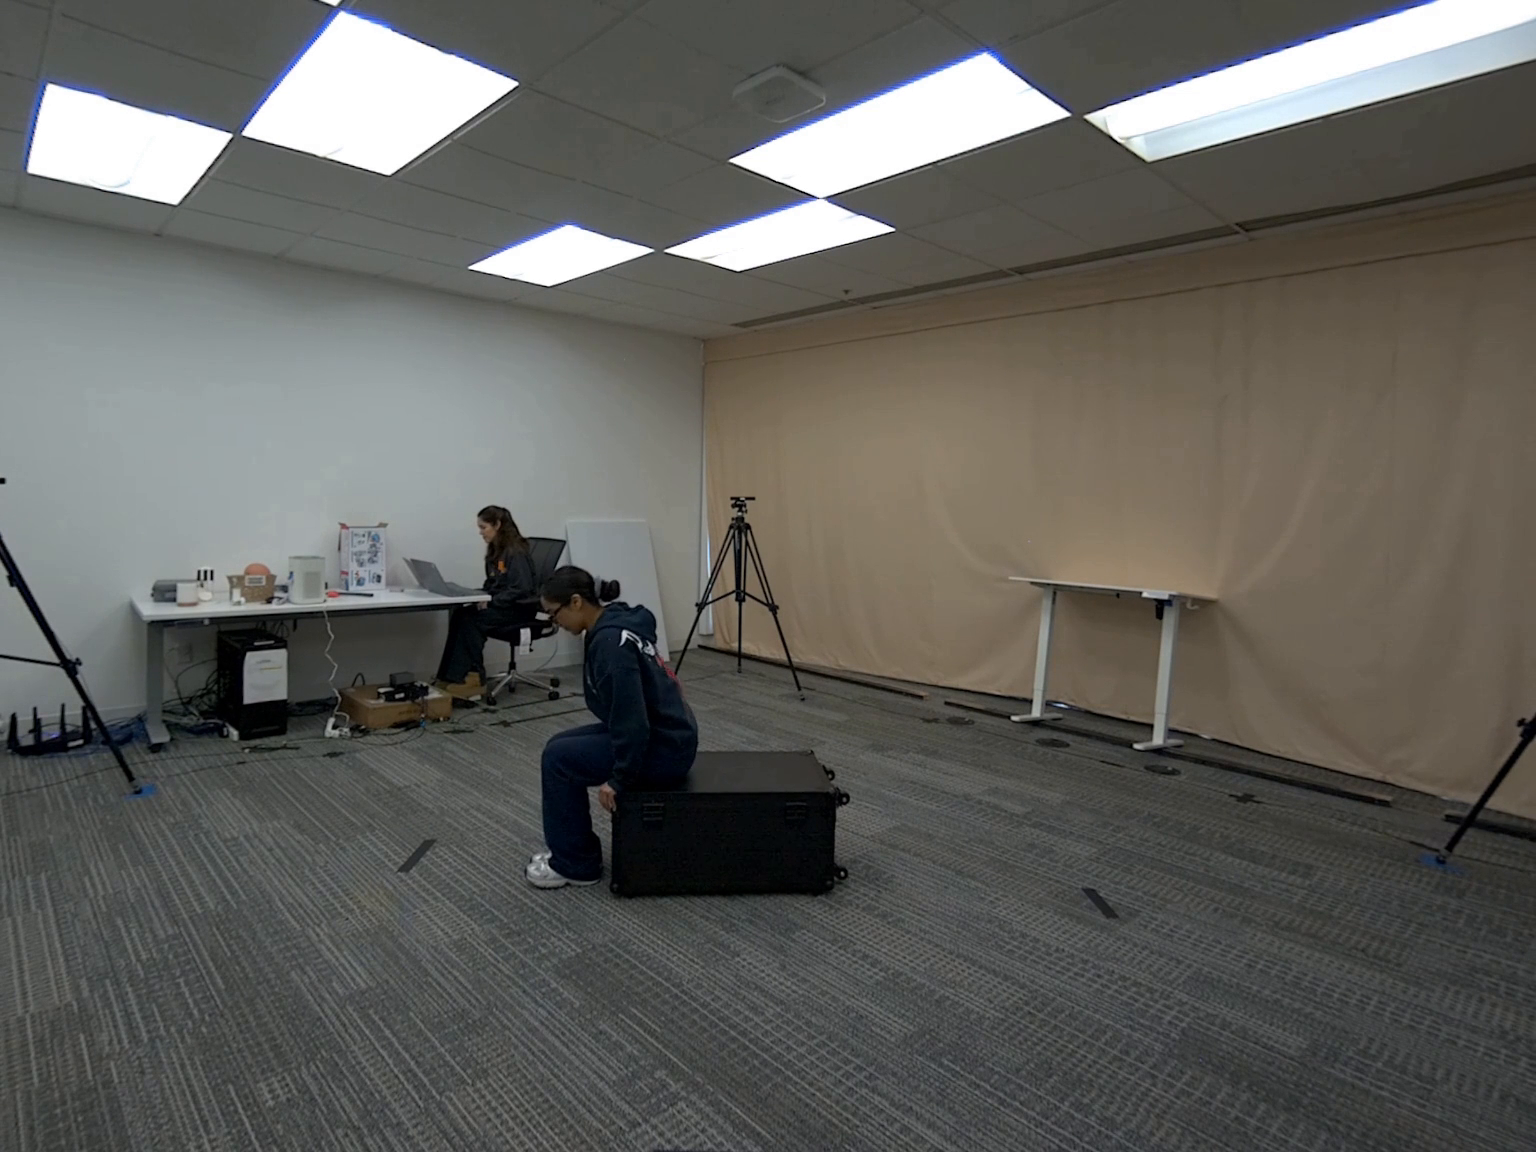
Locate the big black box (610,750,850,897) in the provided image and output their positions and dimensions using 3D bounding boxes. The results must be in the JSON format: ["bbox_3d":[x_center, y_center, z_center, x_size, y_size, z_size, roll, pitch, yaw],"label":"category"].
[{"bbox_3d":[-0.147,0.908,3.157,0.857,0.395,0.525,0,5,-7],"label":"big black box"}]
